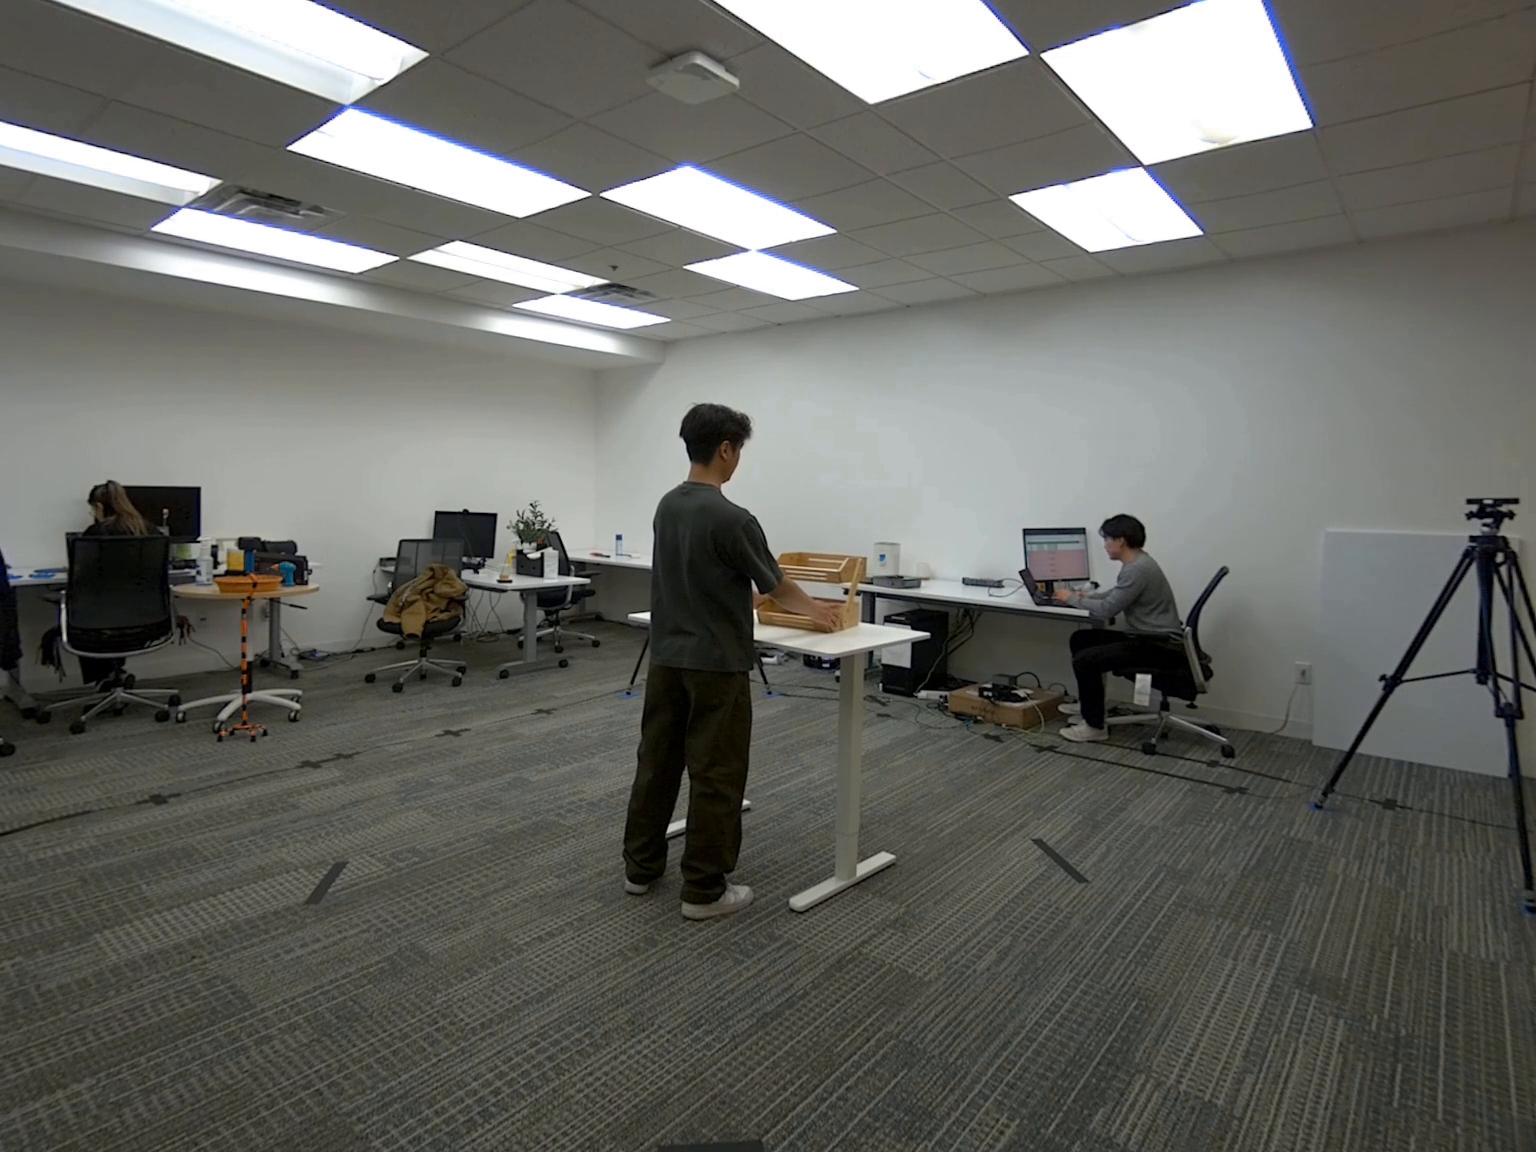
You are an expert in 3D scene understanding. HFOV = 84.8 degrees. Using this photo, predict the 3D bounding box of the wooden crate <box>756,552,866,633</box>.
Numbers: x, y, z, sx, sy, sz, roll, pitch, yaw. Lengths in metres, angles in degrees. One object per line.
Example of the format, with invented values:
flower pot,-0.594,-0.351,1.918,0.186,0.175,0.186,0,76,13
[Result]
wooden crate,0.156,0.046,3.229,0.335,0.272,0.293,5,6,34
